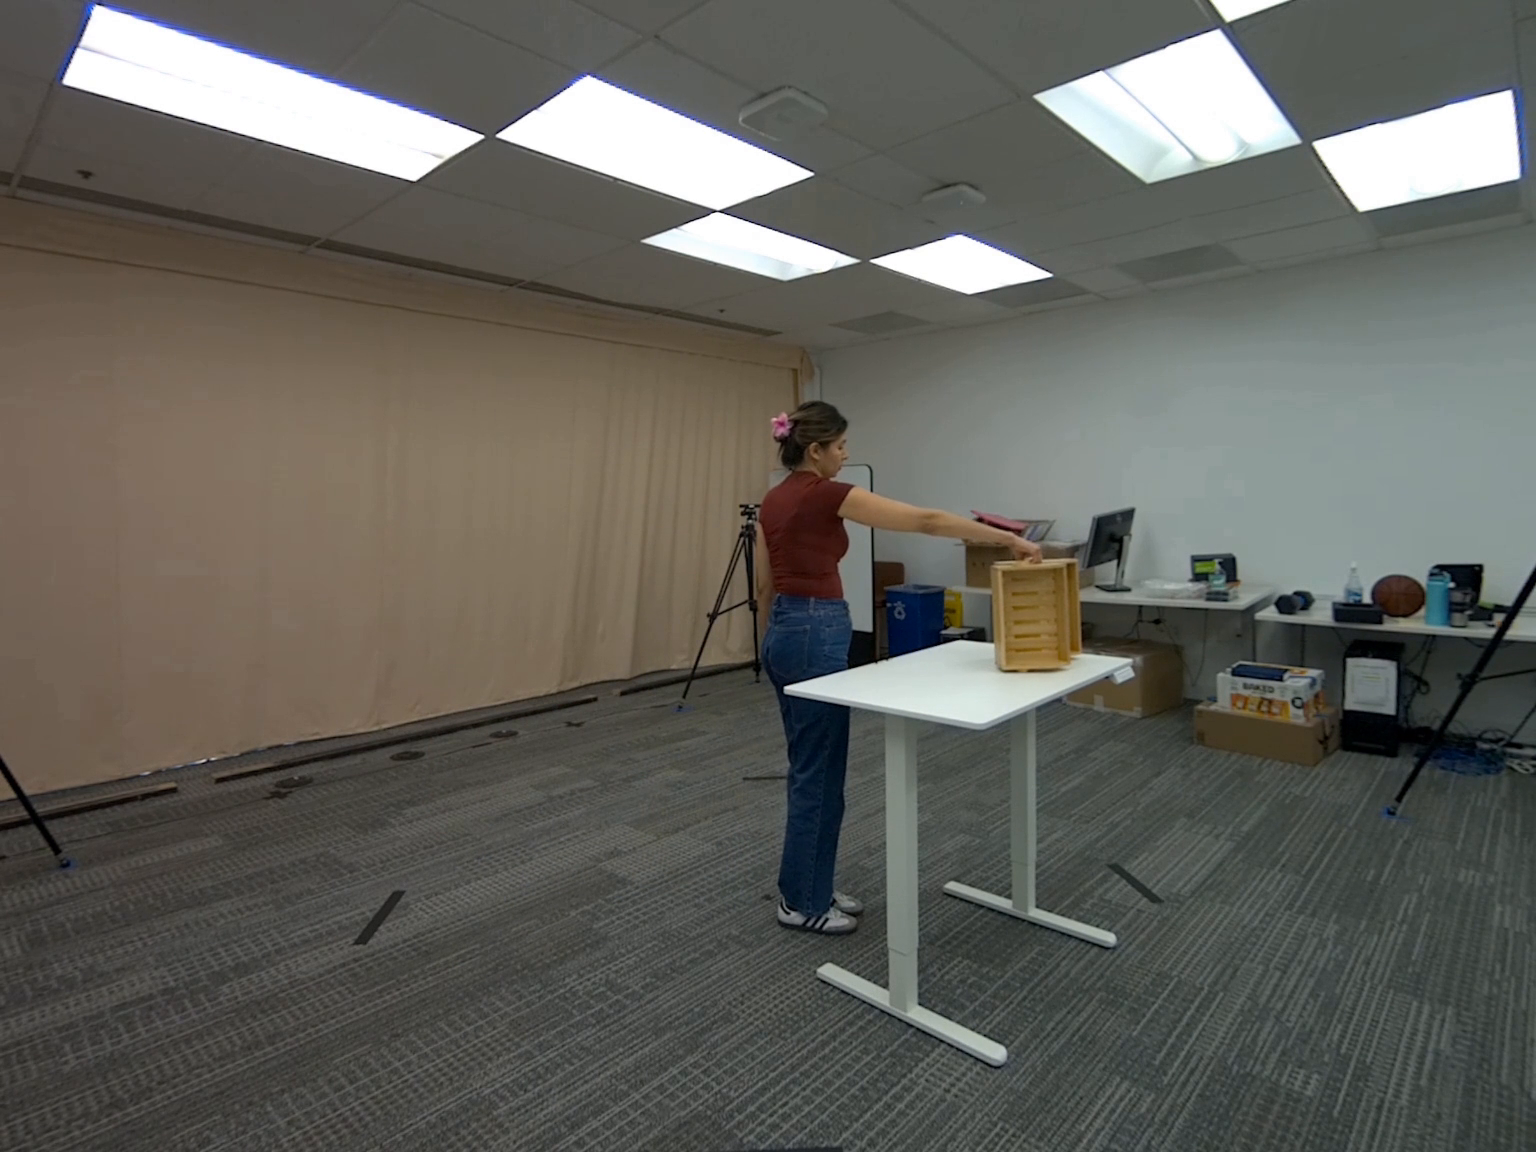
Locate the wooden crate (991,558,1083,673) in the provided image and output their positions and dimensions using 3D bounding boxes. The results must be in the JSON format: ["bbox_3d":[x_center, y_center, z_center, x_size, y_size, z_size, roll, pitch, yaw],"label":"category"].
[{"bbox_3d":[0.849,0.115,2.573,0.303,0.324,0.272,-3,3,4],"label":"wooden crate"}]
